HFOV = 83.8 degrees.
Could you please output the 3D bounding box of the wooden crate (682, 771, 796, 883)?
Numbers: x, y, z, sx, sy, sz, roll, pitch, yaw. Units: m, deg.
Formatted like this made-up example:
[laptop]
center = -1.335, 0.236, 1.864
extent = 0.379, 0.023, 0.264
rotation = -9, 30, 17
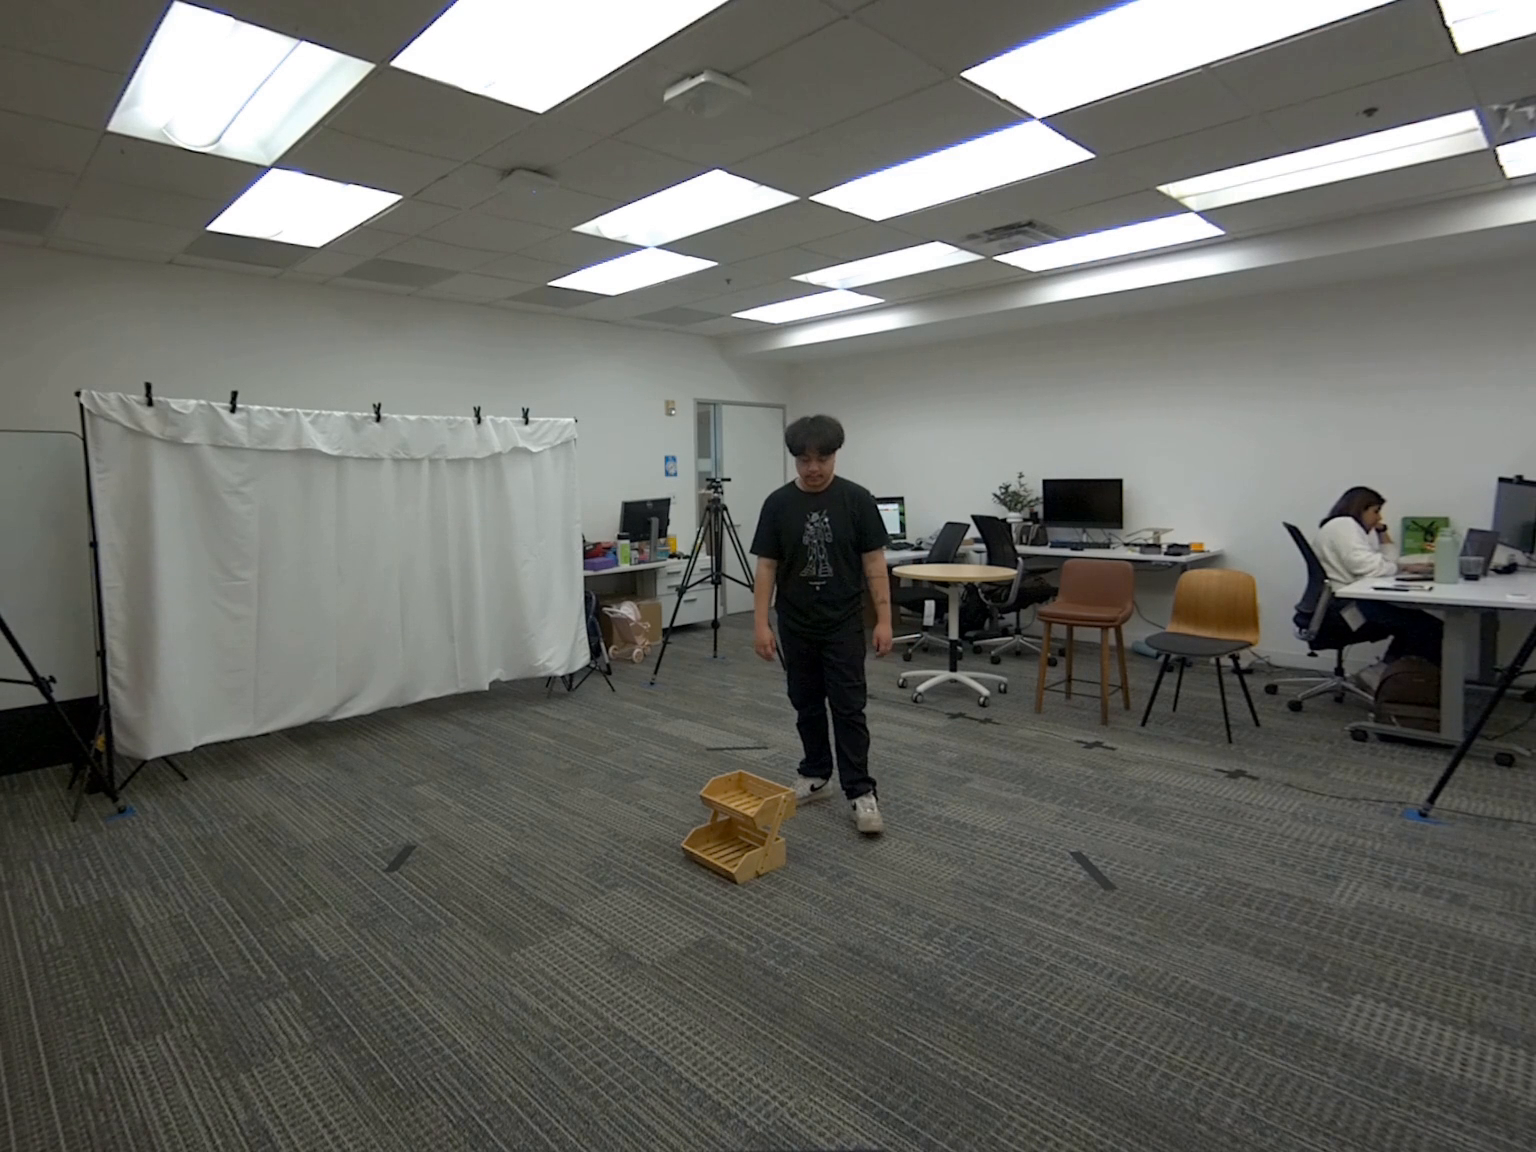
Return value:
[wooden crate]
center = -0.111, 0.906, 3.133
extent = 0.294, 0.272, 0.334
rotation = -4, 6, -42
